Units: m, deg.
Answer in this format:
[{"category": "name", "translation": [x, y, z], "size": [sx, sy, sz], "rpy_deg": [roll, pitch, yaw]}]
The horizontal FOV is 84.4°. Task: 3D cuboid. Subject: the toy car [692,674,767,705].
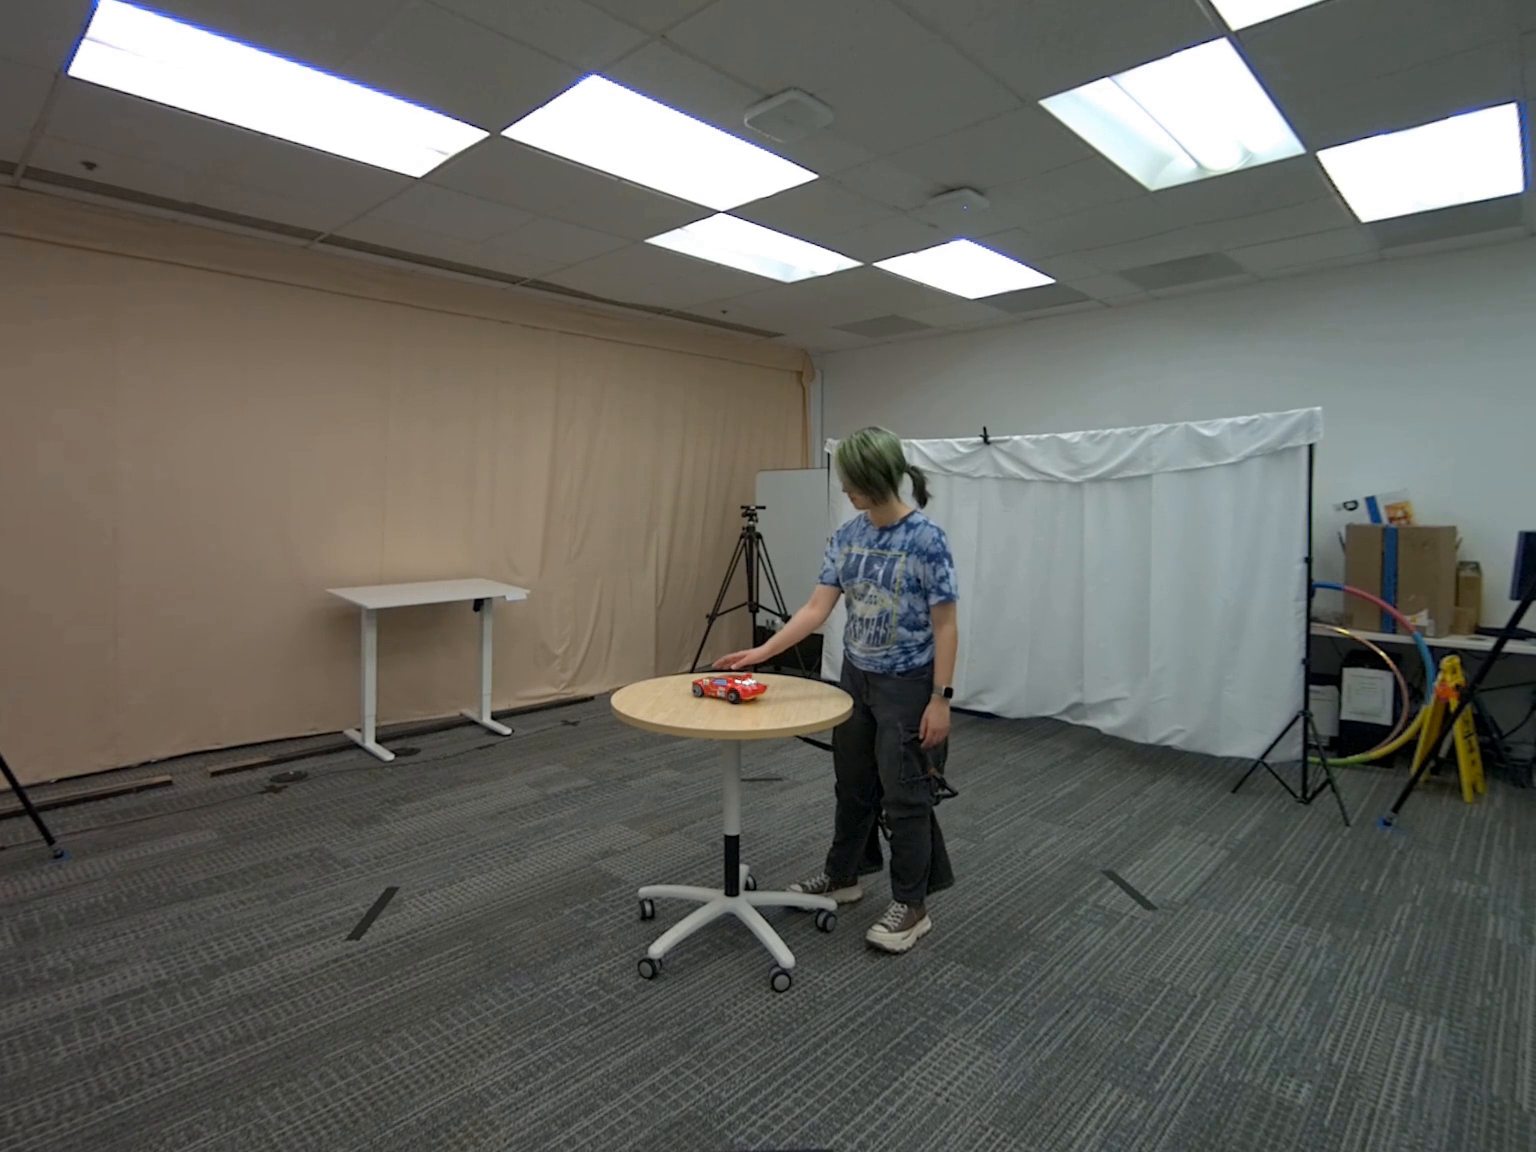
[{"category": "toy car", "translation": [-0.114, 0.361, 2.654], "size": [0.261, 0.083, 0.126], "rpy_deg": [-9, -2, 37]}]
